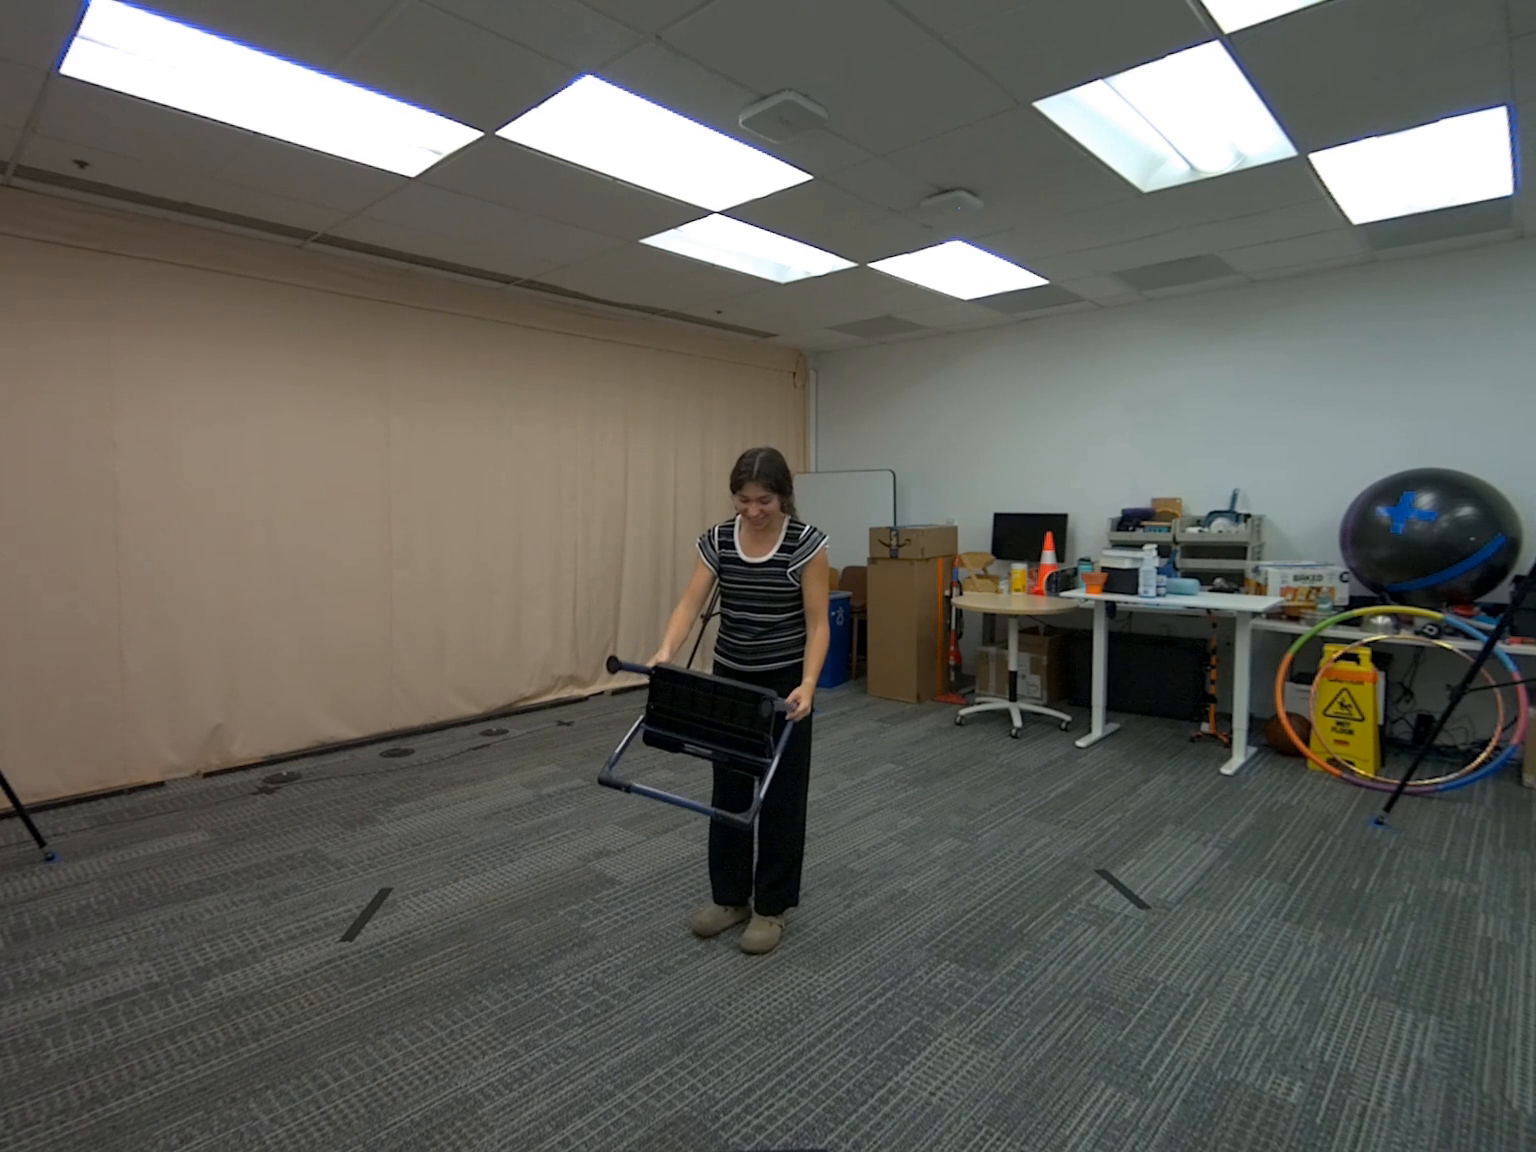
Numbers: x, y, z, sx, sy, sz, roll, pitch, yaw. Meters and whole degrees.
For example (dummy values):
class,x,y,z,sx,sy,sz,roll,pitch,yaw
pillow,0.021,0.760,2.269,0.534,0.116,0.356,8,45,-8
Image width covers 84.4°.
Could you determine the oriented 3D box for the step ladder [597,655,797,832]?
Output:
class,x,y,z,sx,sy,sz,roll,pitch,yaw
step ladder,-0.130,0.351,2.330,0.438,0.347,0.599,13,14,13
